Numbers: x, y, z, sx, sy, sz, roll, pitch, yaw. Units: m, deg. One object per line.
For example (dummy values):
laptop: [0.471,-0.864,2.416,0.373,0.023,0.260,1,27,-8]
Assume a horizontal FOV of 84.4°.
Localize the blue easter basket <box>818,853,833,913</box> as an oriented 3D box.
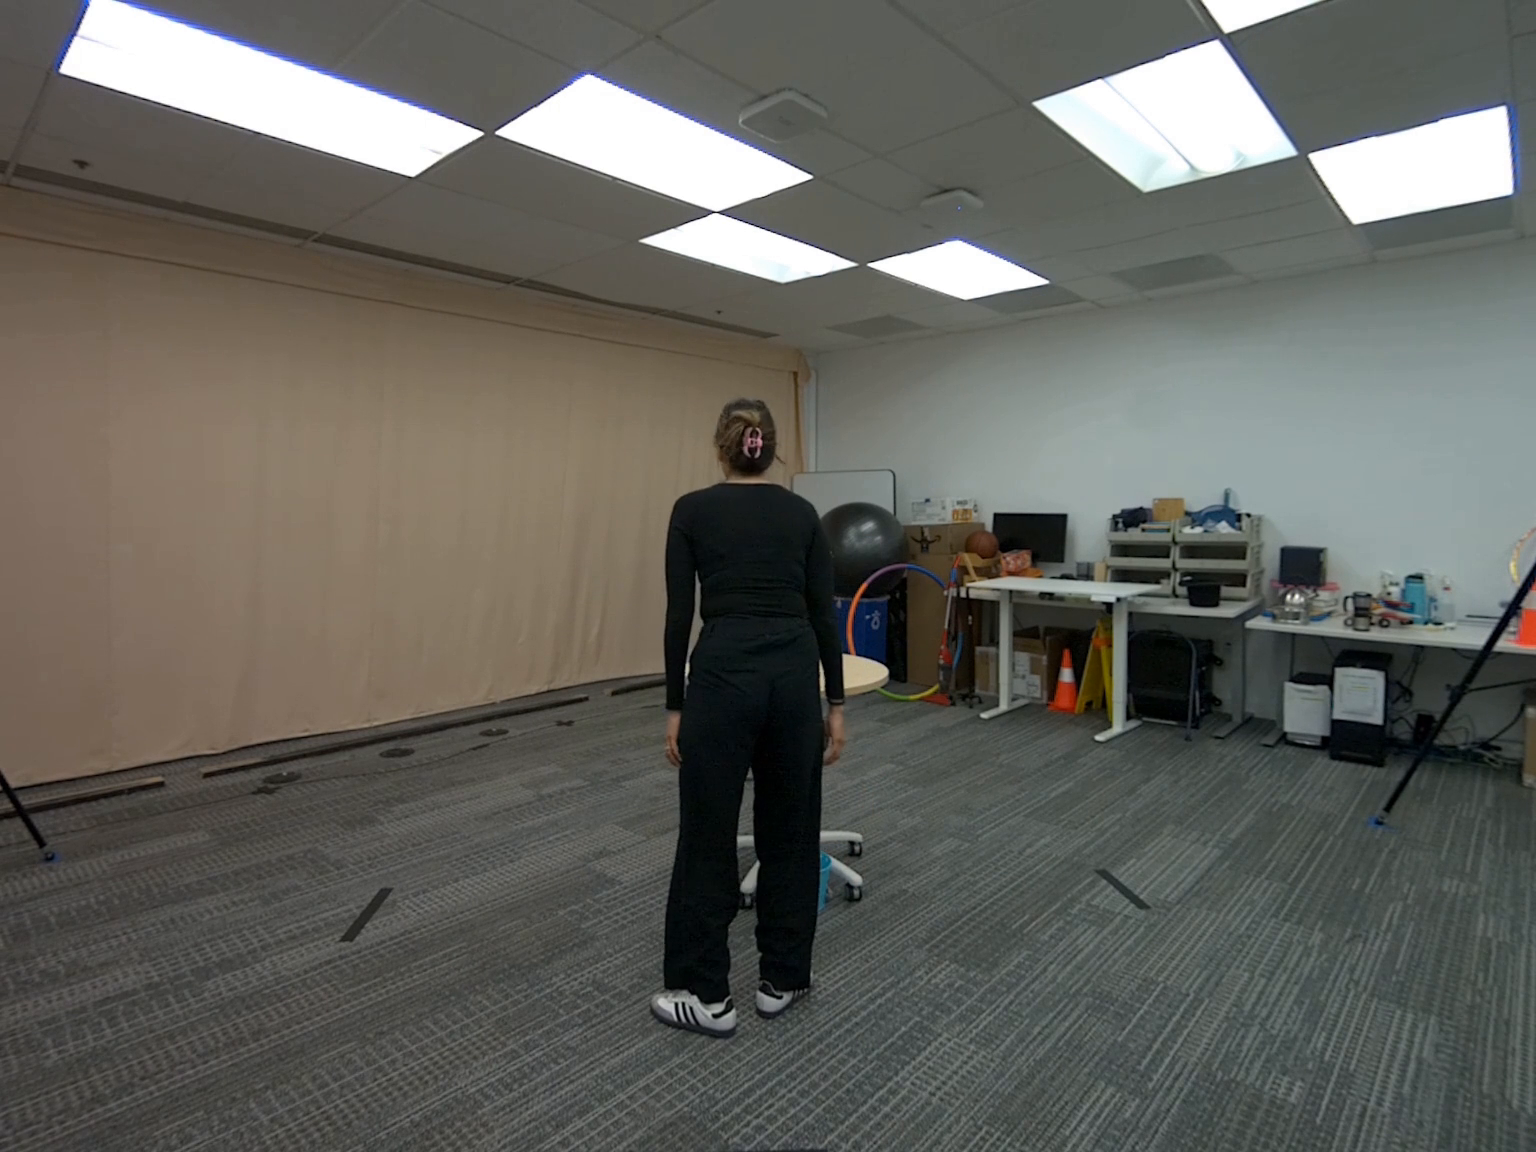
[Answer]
blue easter basket: [0.121,1.070,2.951,0.243,0.155,0.244,1,5,-2]
